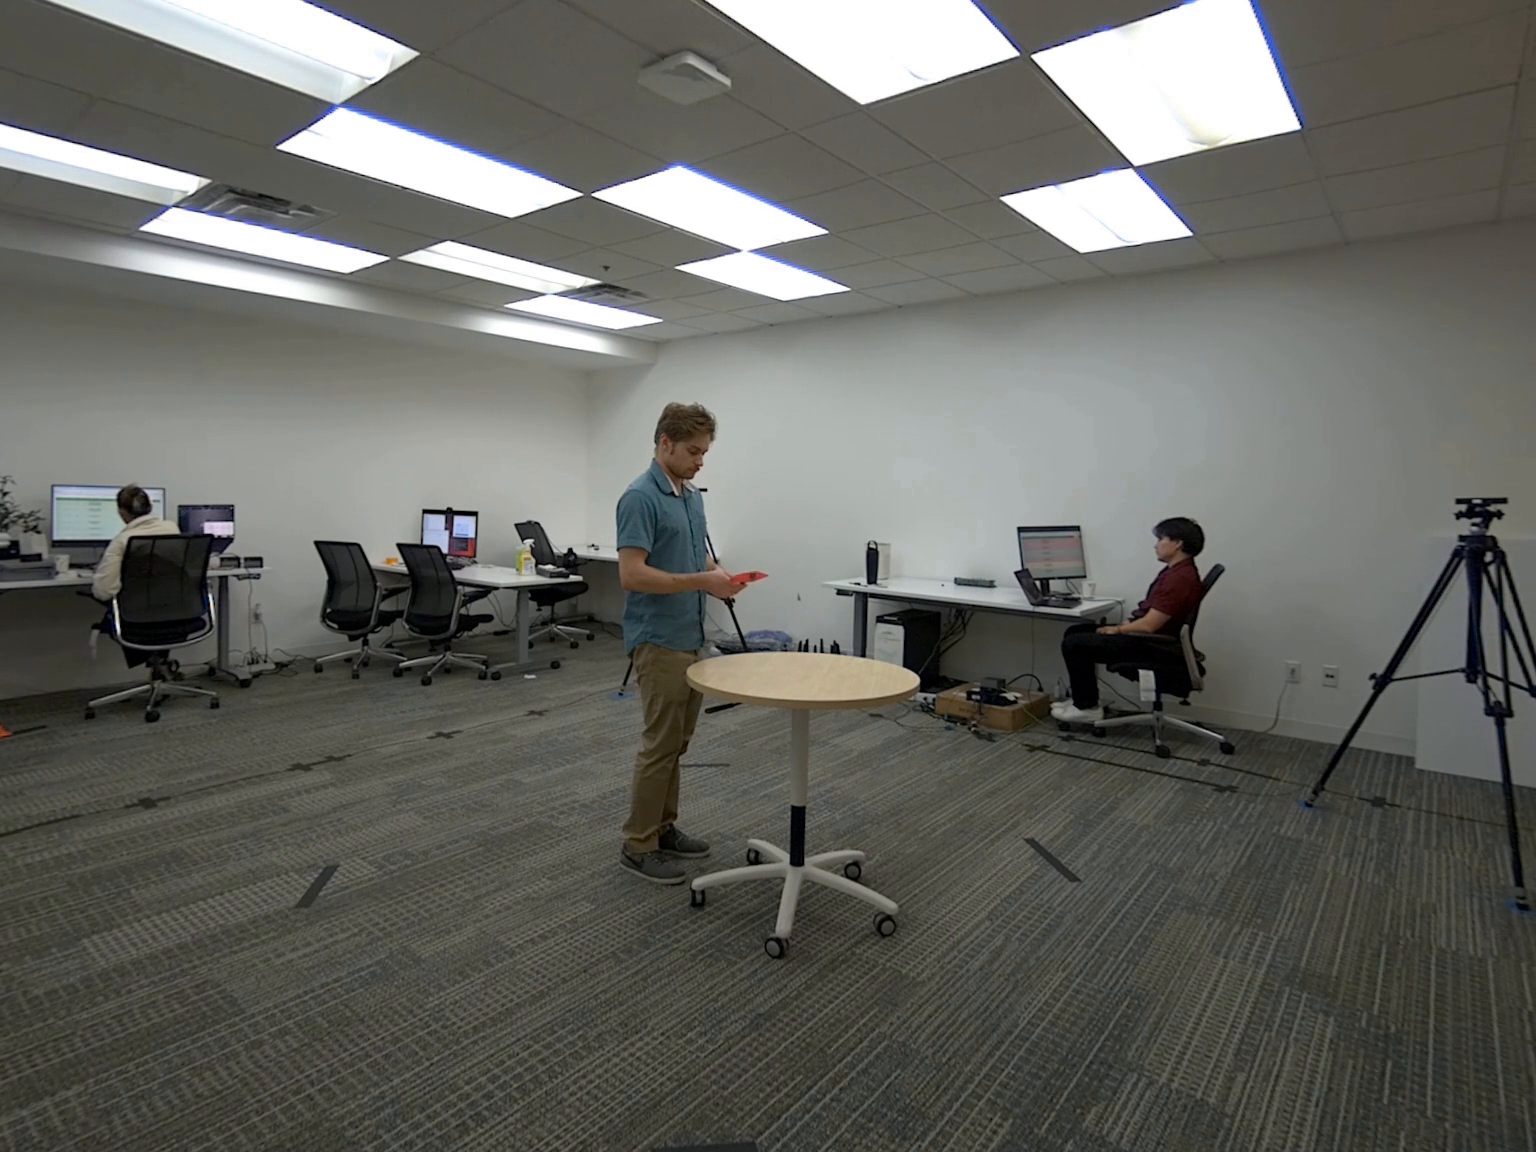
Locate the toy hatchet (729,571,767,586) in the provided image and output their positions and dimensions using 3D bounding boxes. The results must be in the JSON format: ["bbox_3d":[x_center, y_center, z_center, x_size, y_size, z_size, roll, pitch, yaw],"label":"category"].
[{"bbox_3d":[-0.149,0.017,2.958,0.127,0.030,0.276,0,-10,-39],"label":"toy hatchet"}]
